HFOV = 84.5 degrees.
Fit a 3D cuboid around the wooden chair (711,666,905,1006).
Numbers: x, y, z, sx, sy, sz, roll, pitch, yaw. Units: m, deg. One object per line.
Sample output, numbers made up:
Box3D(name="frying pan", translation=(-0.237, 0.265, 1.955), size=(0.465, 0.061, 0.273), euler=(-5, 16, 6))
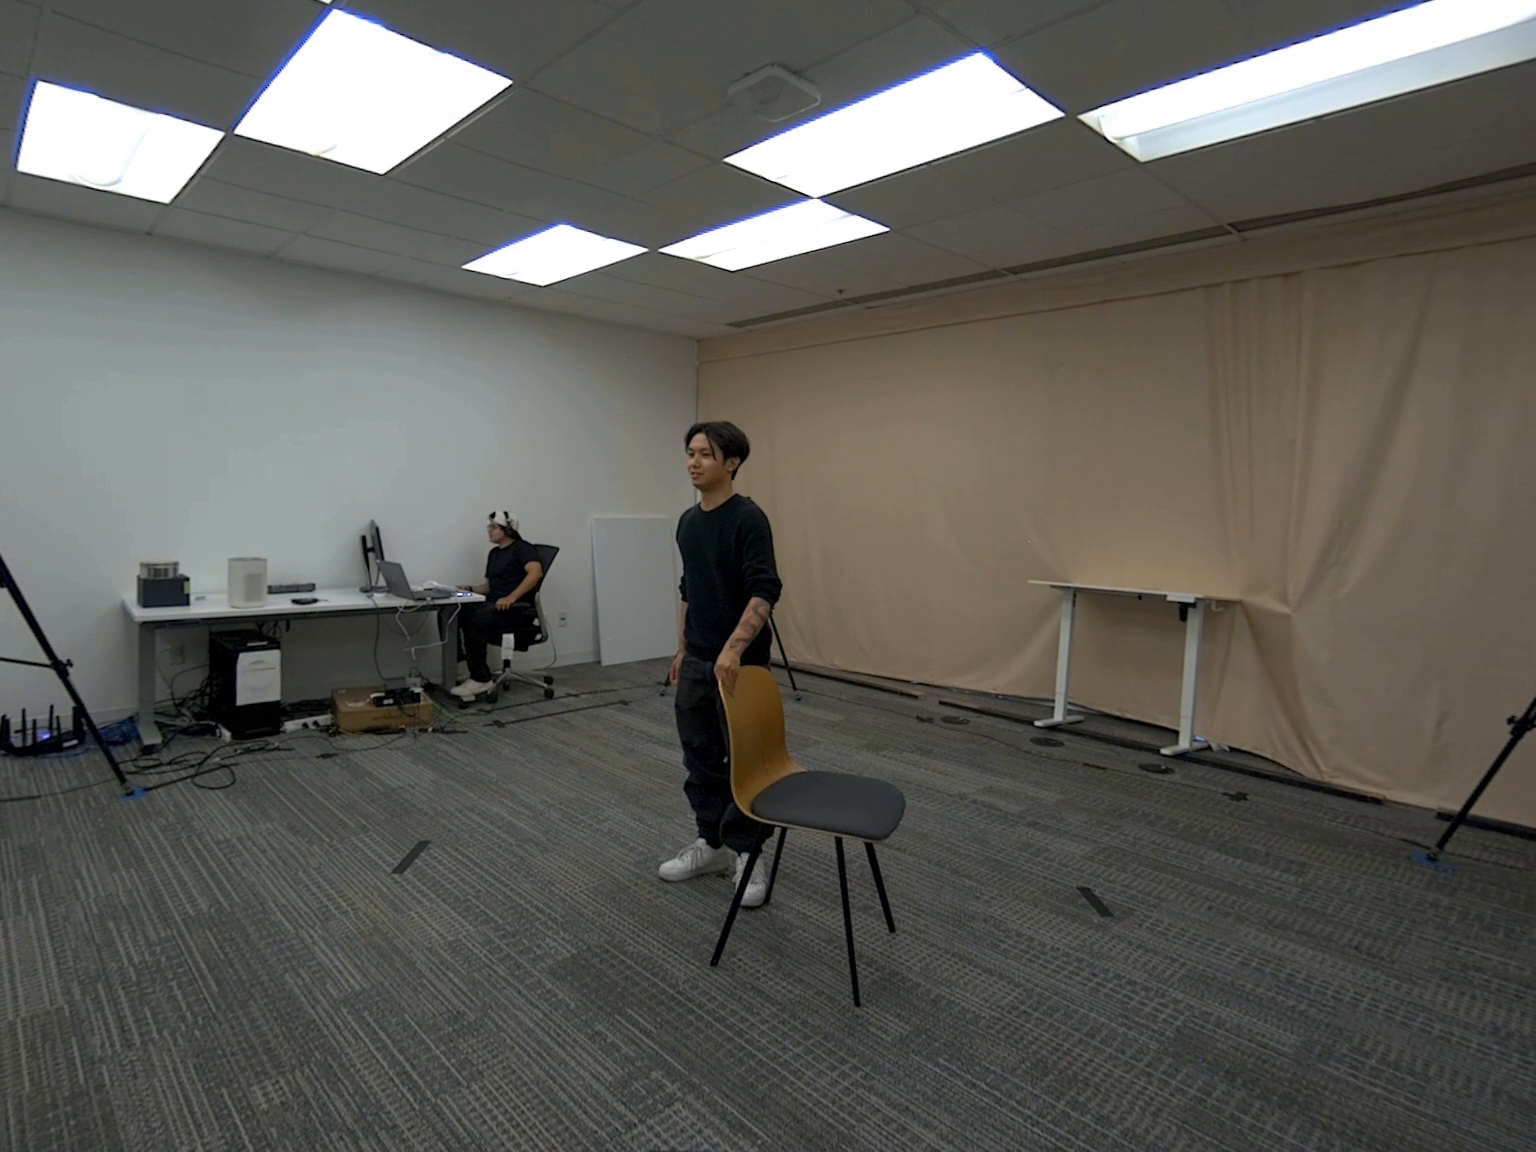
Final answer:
Box3D(name="wooden chair", translation=(0.135, 0.733, 2.583), size=(0.532, 0.876, 0.470), euler=(-2, 2, 23))
